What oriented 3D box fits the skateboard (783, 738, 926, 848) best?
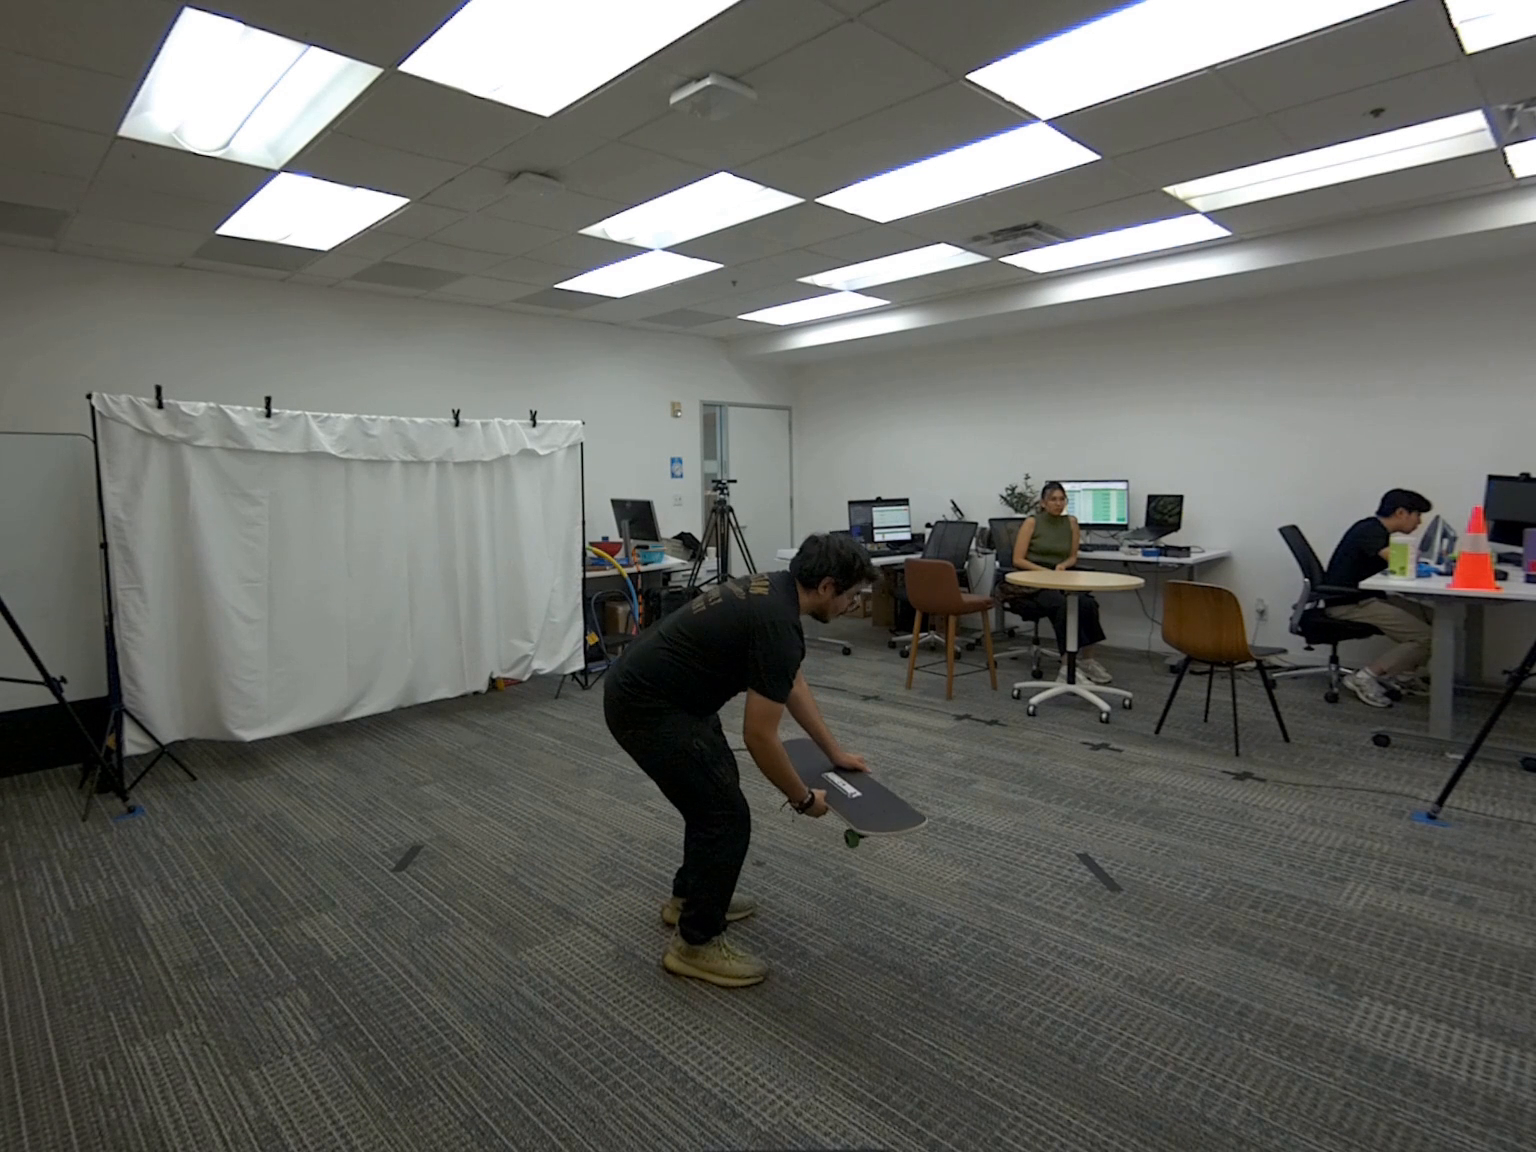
[{"bbox_3d":[0.228,0.649,2.542,0.191,0.109,0.802,-9,9,-18],"label":"skateboard"}]
